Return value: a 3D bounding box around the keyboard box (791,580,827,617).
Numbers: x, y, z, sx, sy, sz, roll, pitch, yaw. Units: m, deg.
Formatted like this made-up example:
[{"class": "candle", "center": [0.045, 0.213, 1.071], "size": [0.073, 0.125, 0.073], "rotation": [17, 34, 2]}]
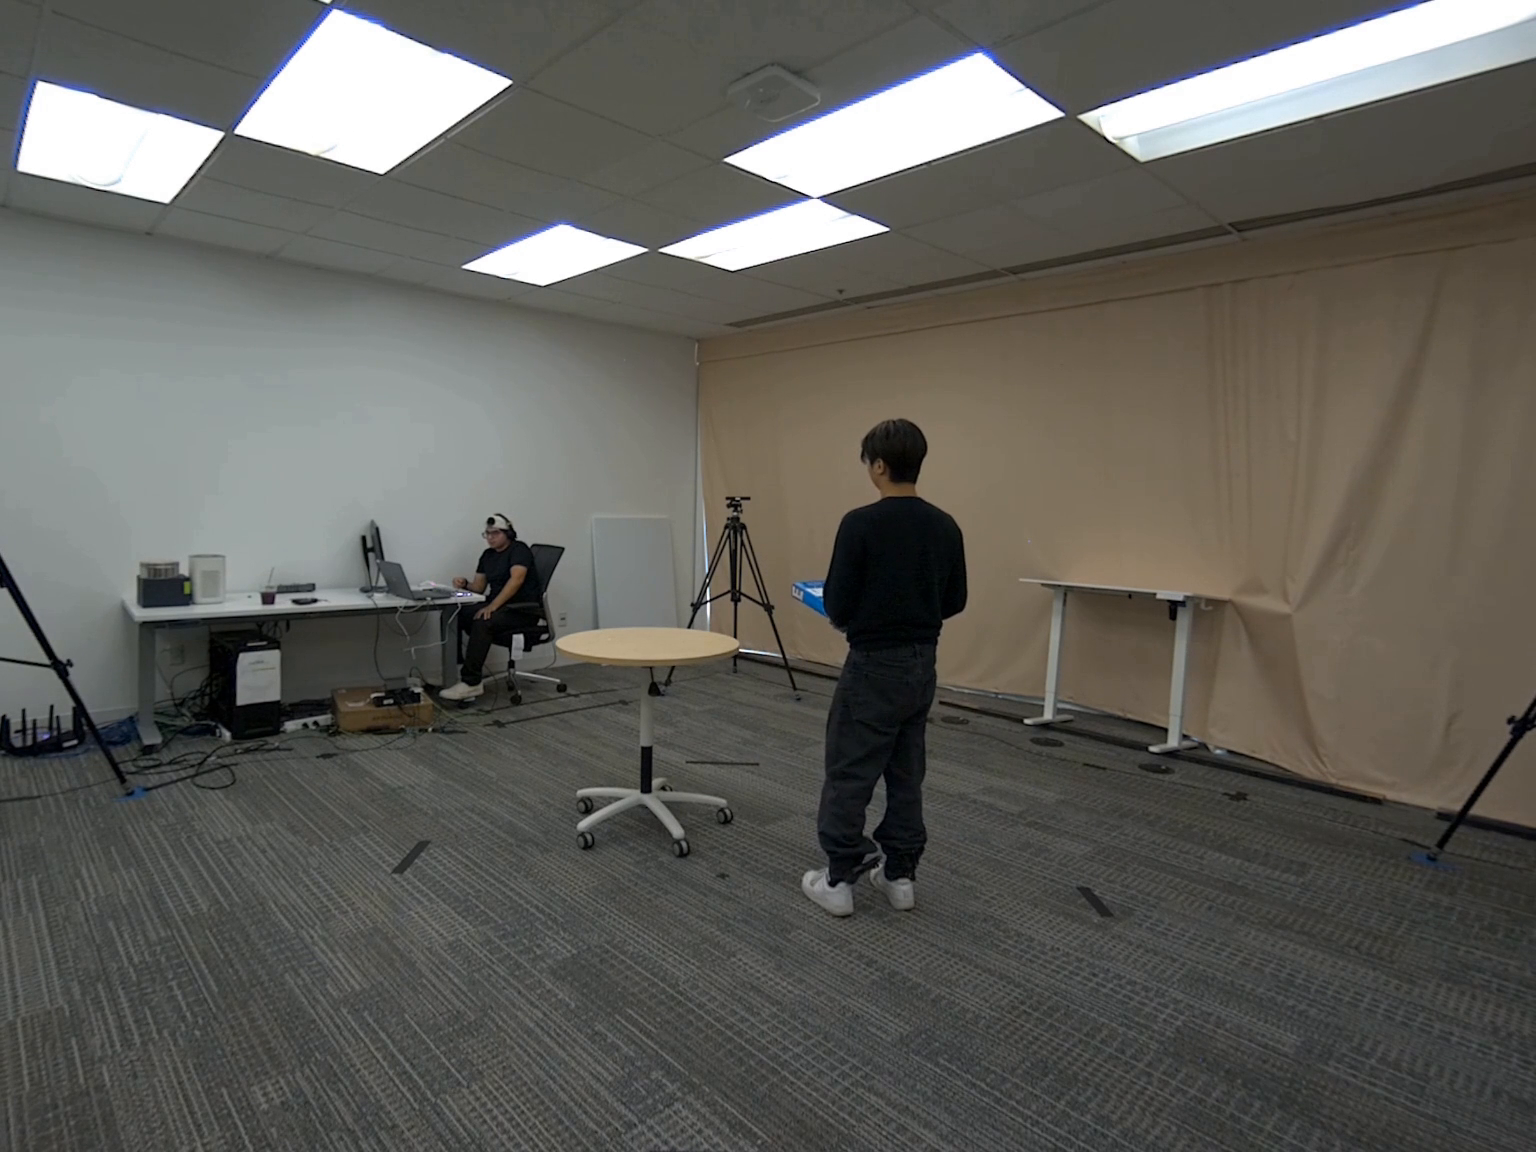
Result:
[{"class": "keyboard box", "center": [0.271, 0.110, 3.336], "size": [0.173, 0.058, 0.448], "rotation": [-4, 17, -25]}]
